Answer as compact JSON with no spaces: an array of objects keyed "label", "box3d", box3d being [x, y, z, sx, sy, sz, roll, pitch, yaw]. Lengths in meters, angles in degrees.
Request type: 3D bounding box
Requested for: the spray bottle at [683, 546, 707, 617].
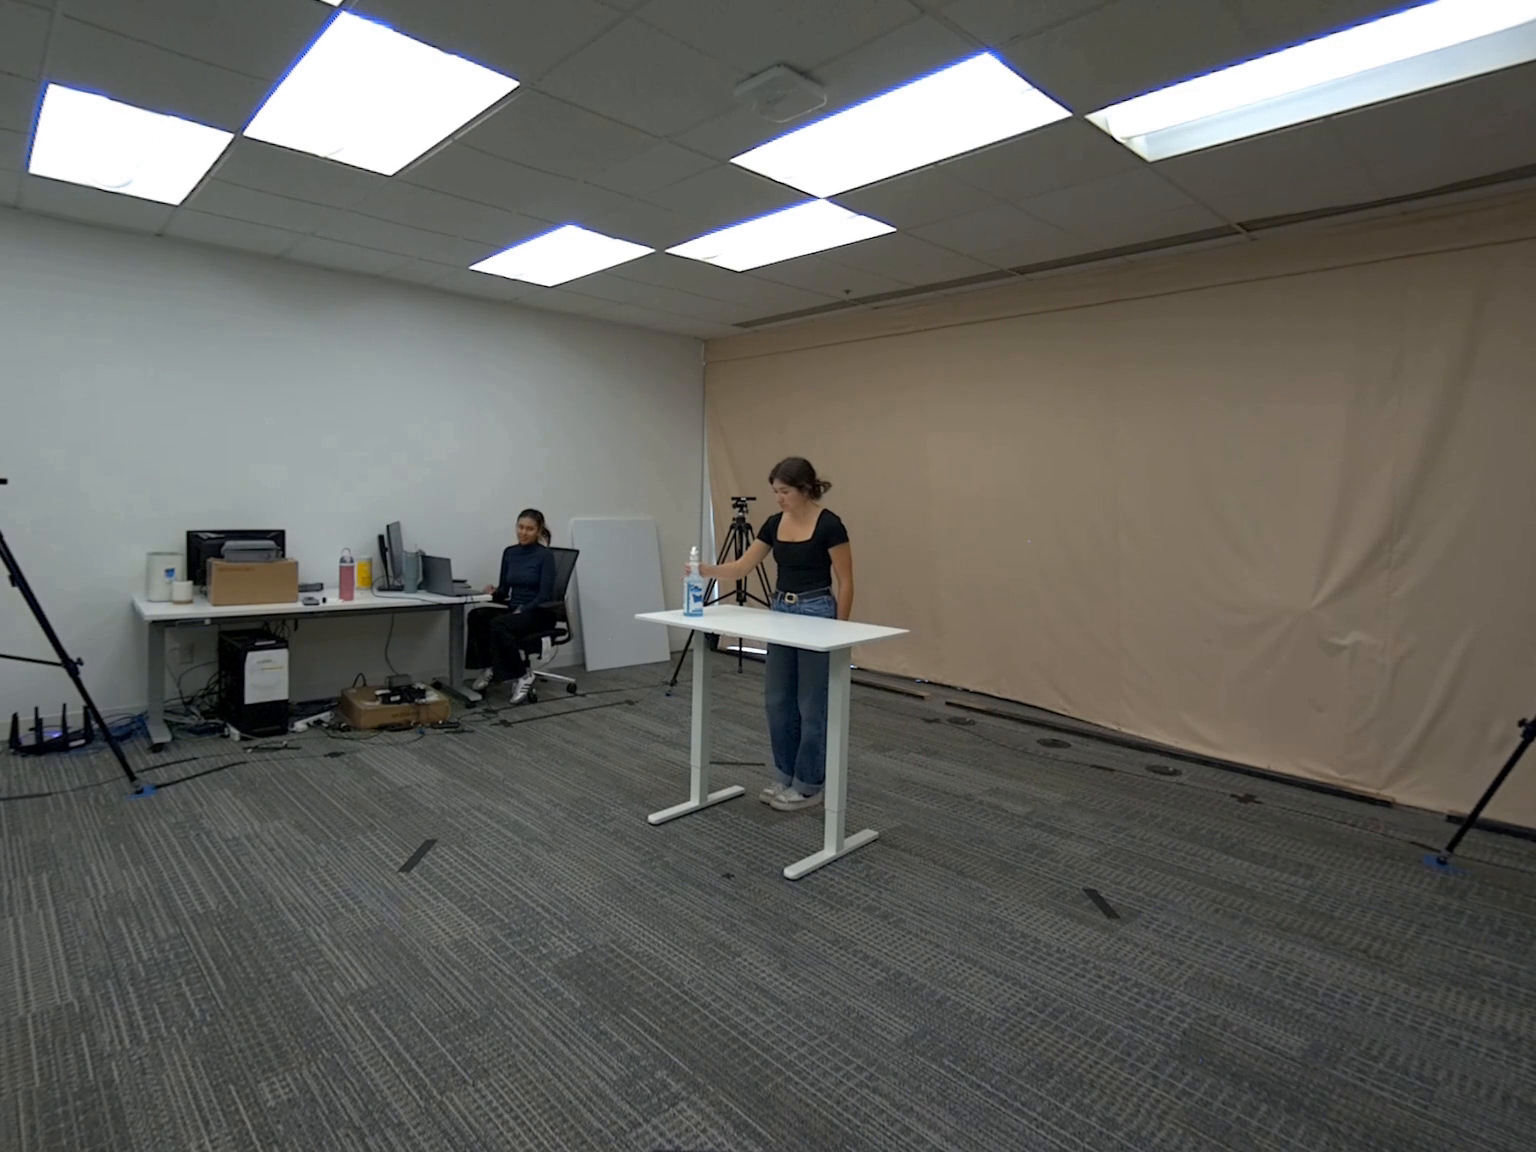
[{"label":"spray bottle","box3d":[-0.335,0.027,3.641,0.088,0.297,0.088,0,1,24]}]
